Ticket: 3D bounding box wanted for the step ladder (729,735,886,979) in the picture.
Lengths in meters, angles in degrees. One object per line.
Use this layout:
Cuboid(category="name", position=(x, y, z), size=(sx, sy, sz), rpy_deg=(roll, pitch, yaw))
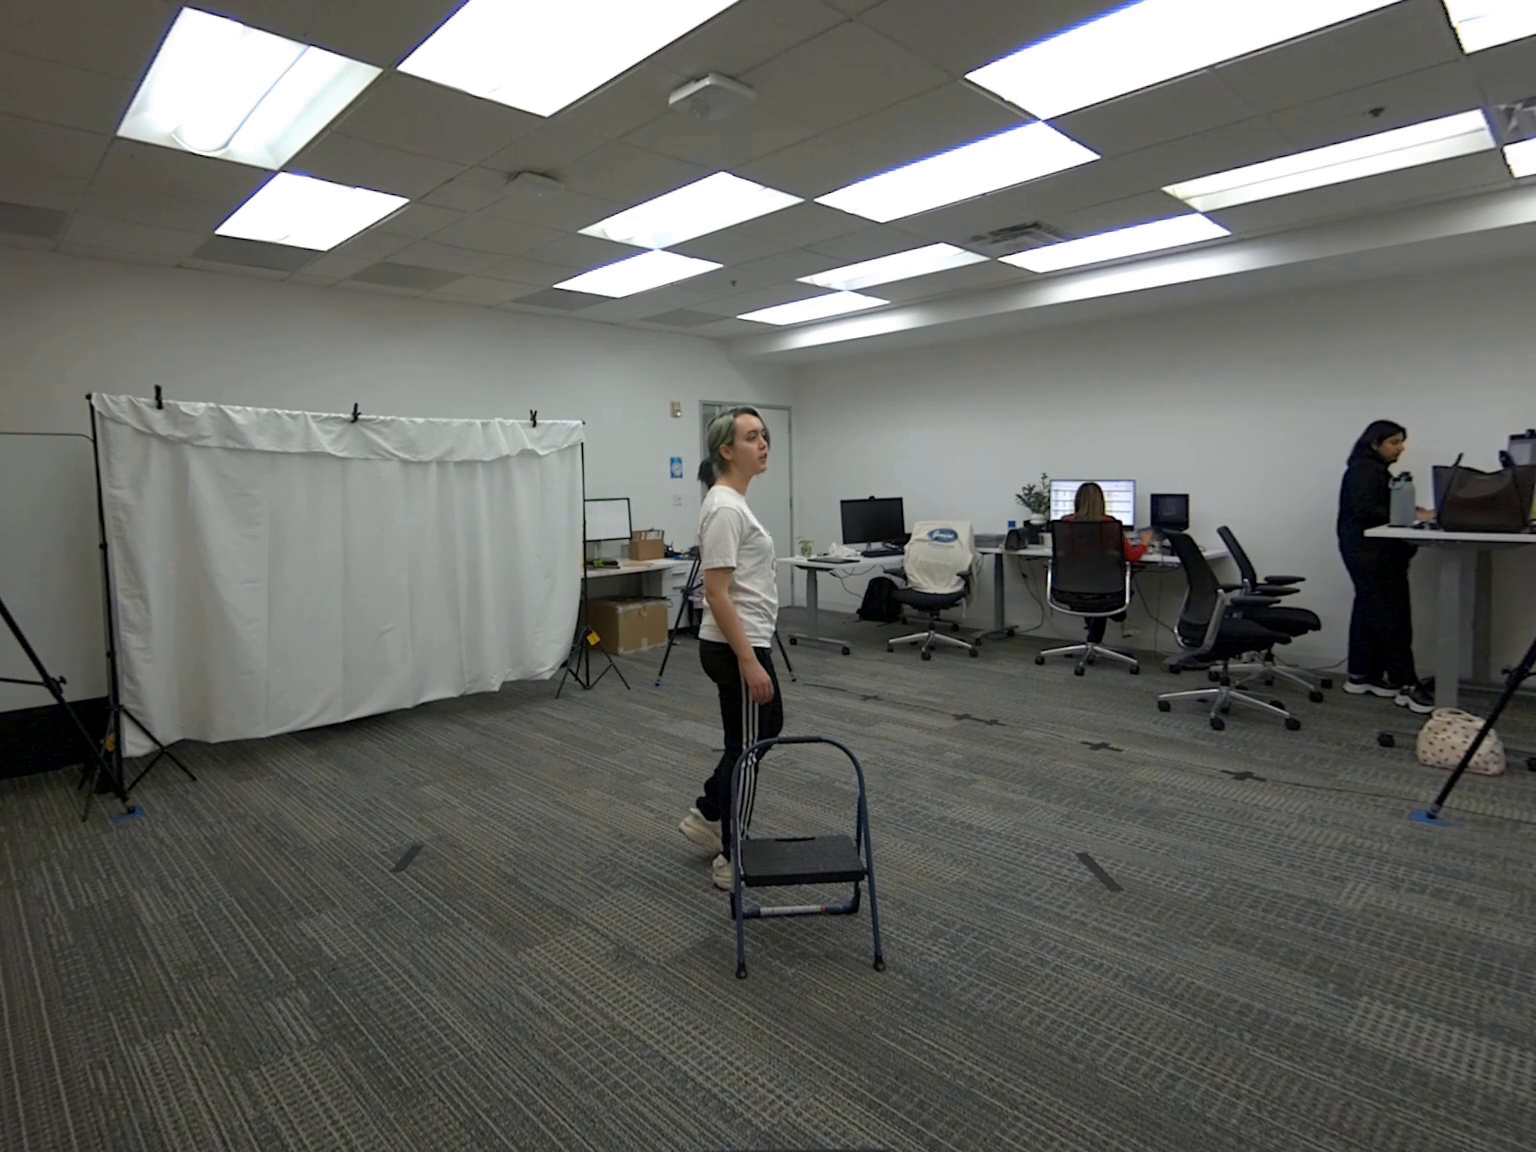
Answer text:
Cuboid(category="step ladder", position=(0.105, 0.806, 2.567), size=(0.428, 0.604, 0.352), rpy_deg=(-1, 4, -6))
